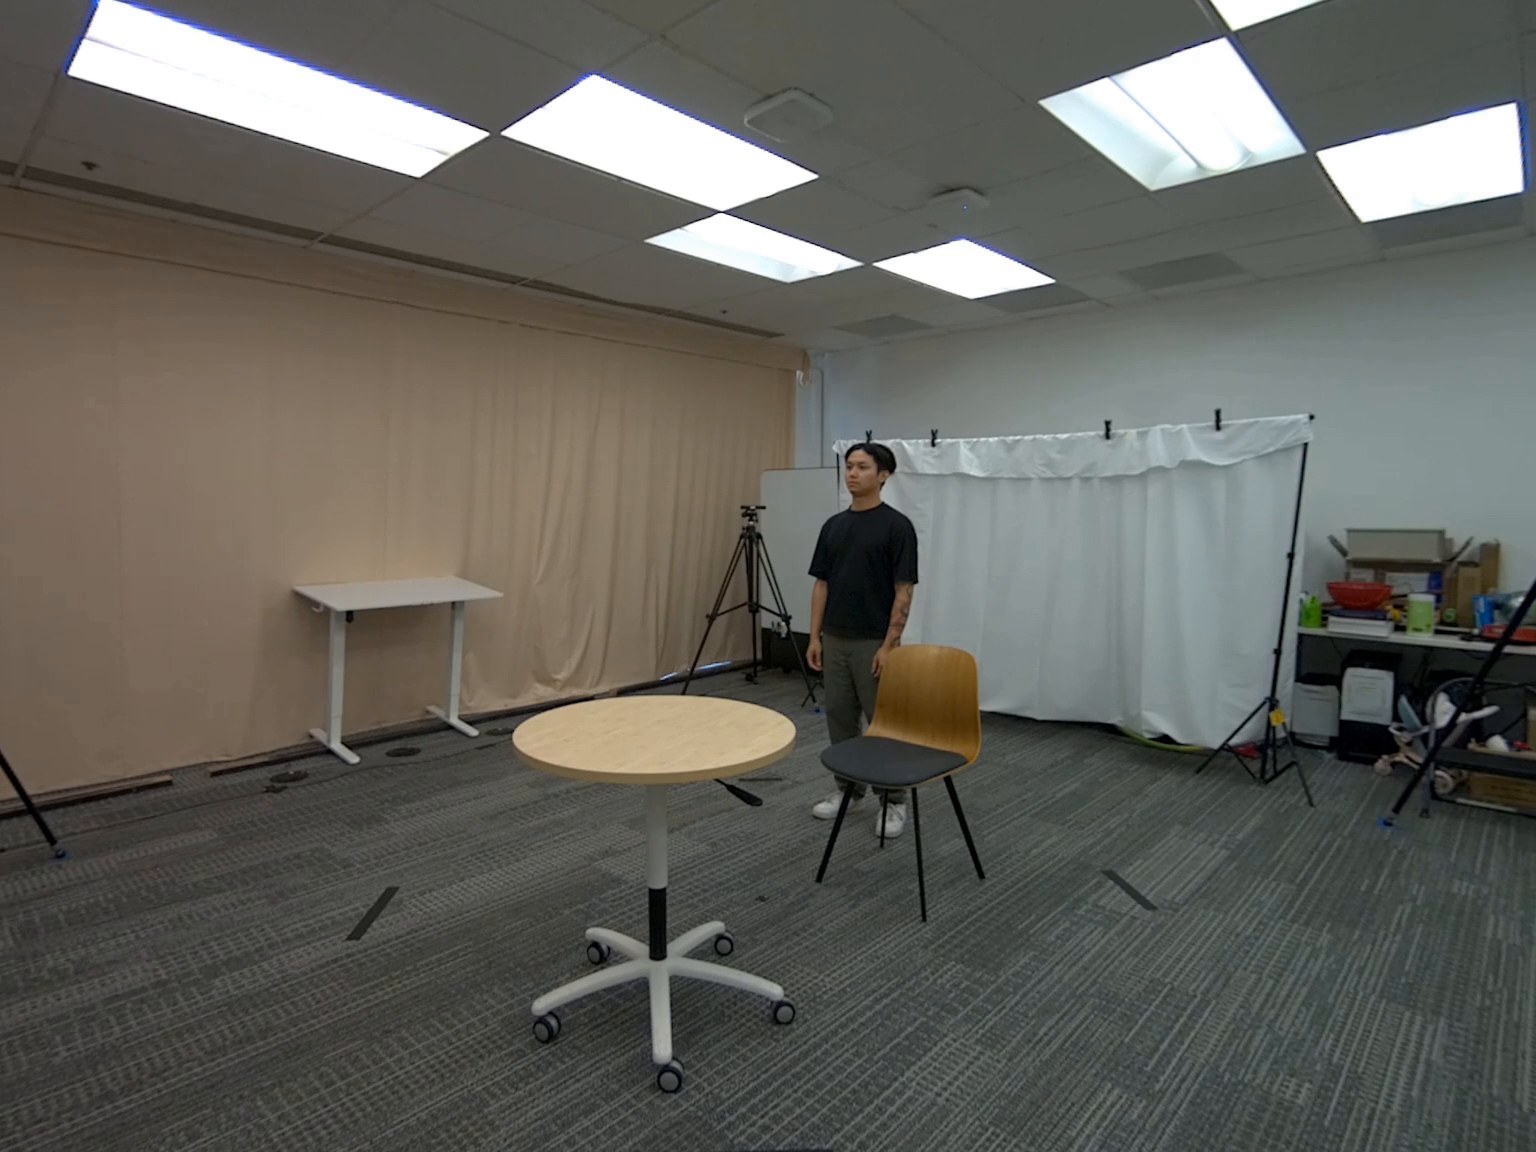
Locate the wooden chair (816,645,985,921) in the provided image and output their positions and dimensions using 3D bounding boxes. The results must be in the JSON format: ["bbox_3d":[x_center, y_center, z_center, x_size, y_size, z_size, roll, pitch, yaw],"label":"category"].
[{"bbox_3d":[0.490,0.701,3.092,0.494,0.877,0.506,3,0,41],"label":"wooden chair"}]
